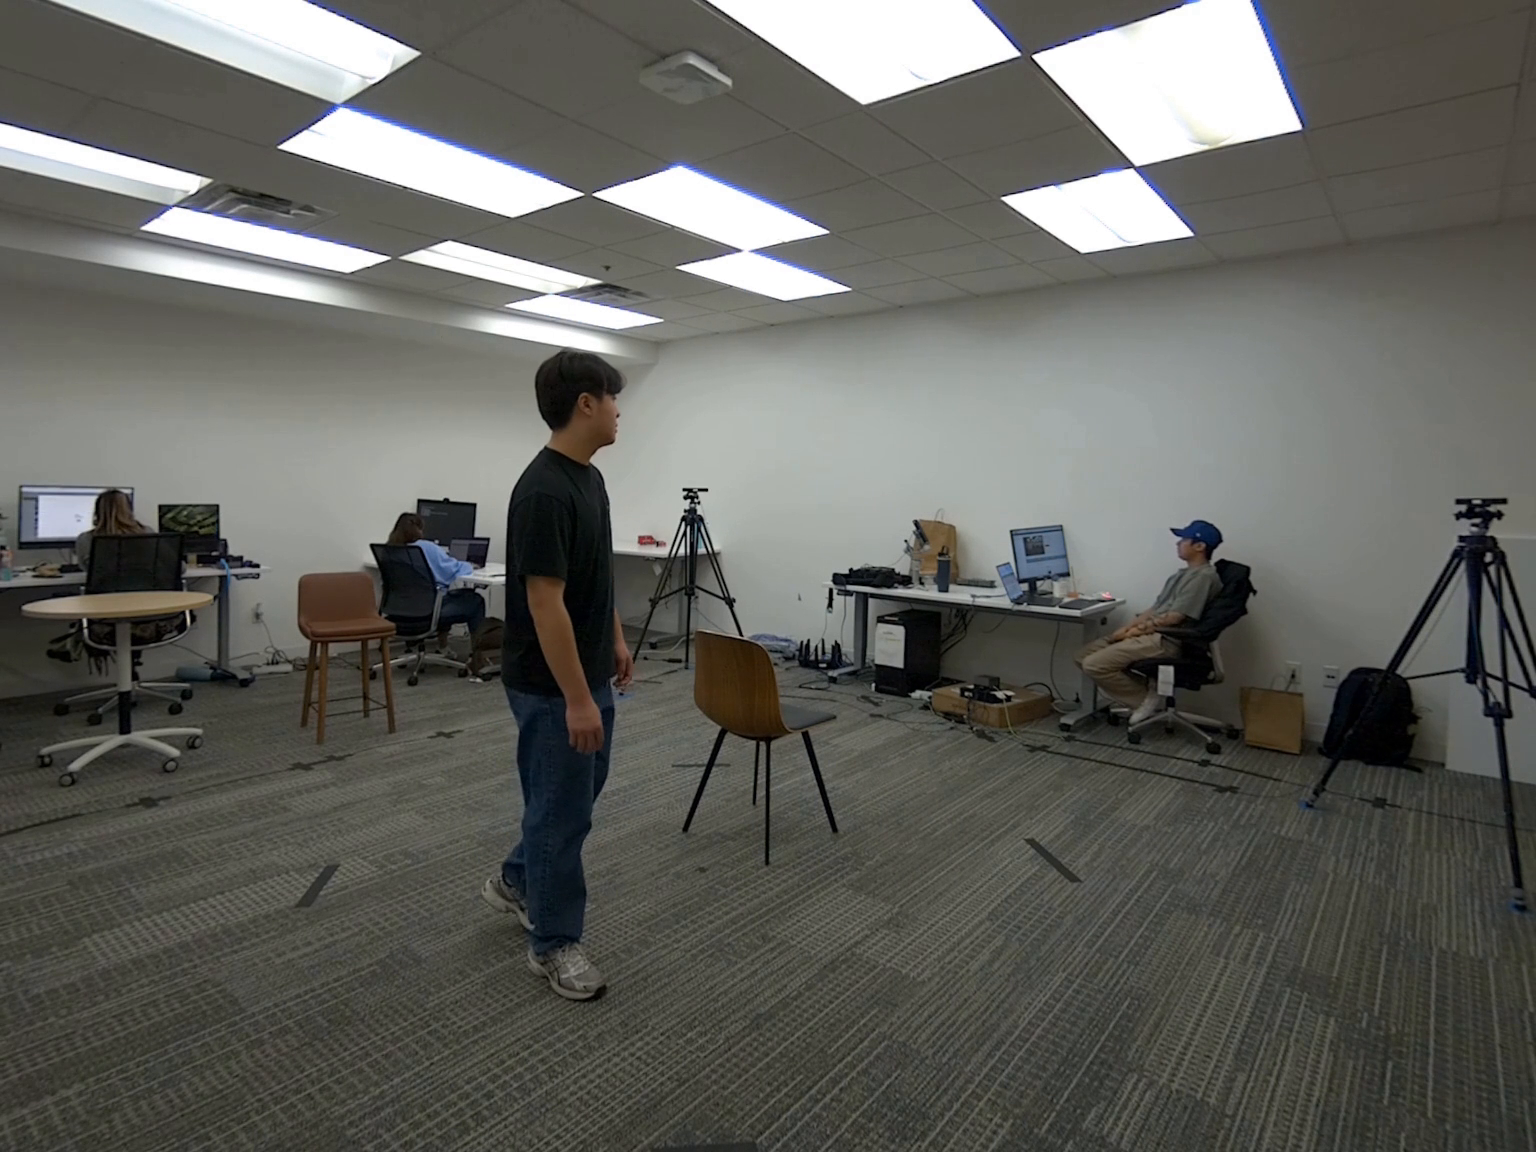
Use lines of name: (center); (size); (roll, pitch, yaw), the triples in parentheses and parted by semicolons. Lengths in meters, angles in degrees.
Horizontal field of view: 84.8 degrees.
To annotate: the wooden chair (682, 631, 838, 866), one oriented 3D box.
wooden chair: (-0.027, 0.612, 3.442); (0.494, 0.872, 0.509); (4, 8, 41)
